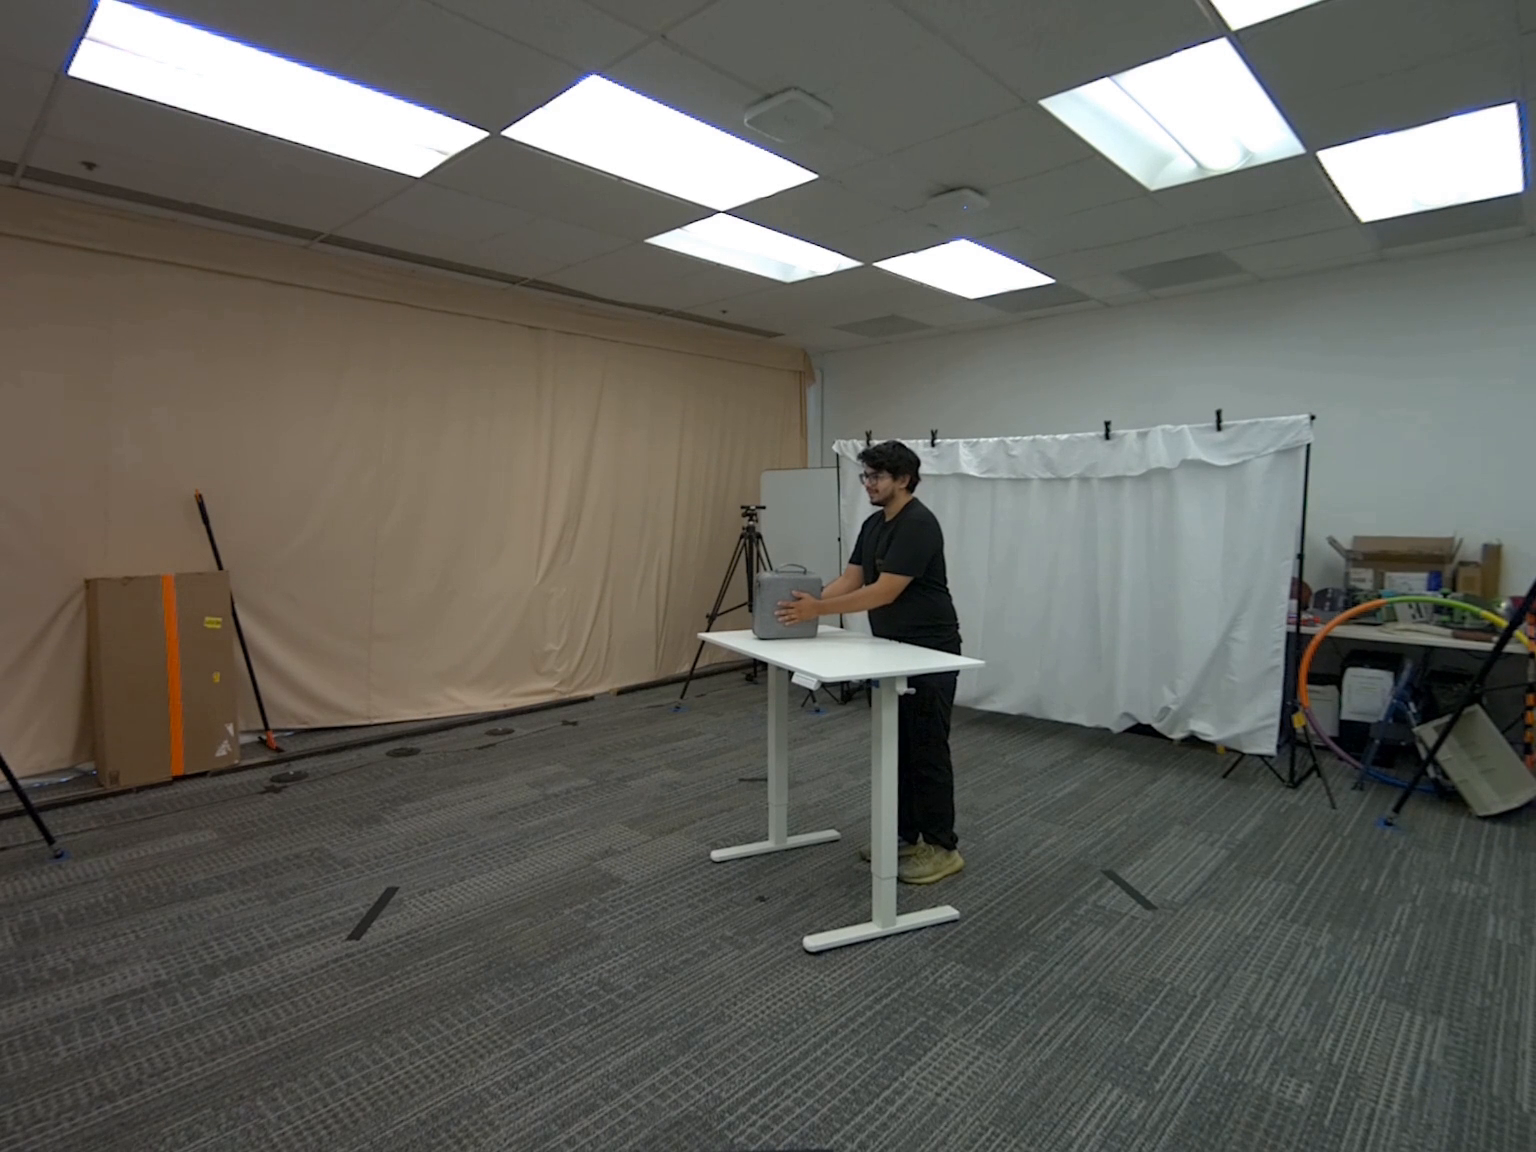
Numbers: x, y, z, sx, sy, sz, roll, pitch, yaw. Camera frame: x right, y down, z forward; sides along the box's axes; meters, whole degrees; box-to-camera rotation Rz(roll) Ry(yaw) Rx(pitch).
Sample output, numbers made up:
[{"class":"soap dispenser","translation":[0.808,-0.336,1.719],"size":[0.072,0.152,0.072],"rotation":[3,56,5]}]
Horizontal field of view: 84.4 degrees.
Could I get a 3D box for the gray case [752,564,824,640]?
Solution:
[{"class":"gray case","translation":[0.079,0.110,3.235],"size":[0.254,0.259,0.106],"rotation":[1,10,-12]}]
